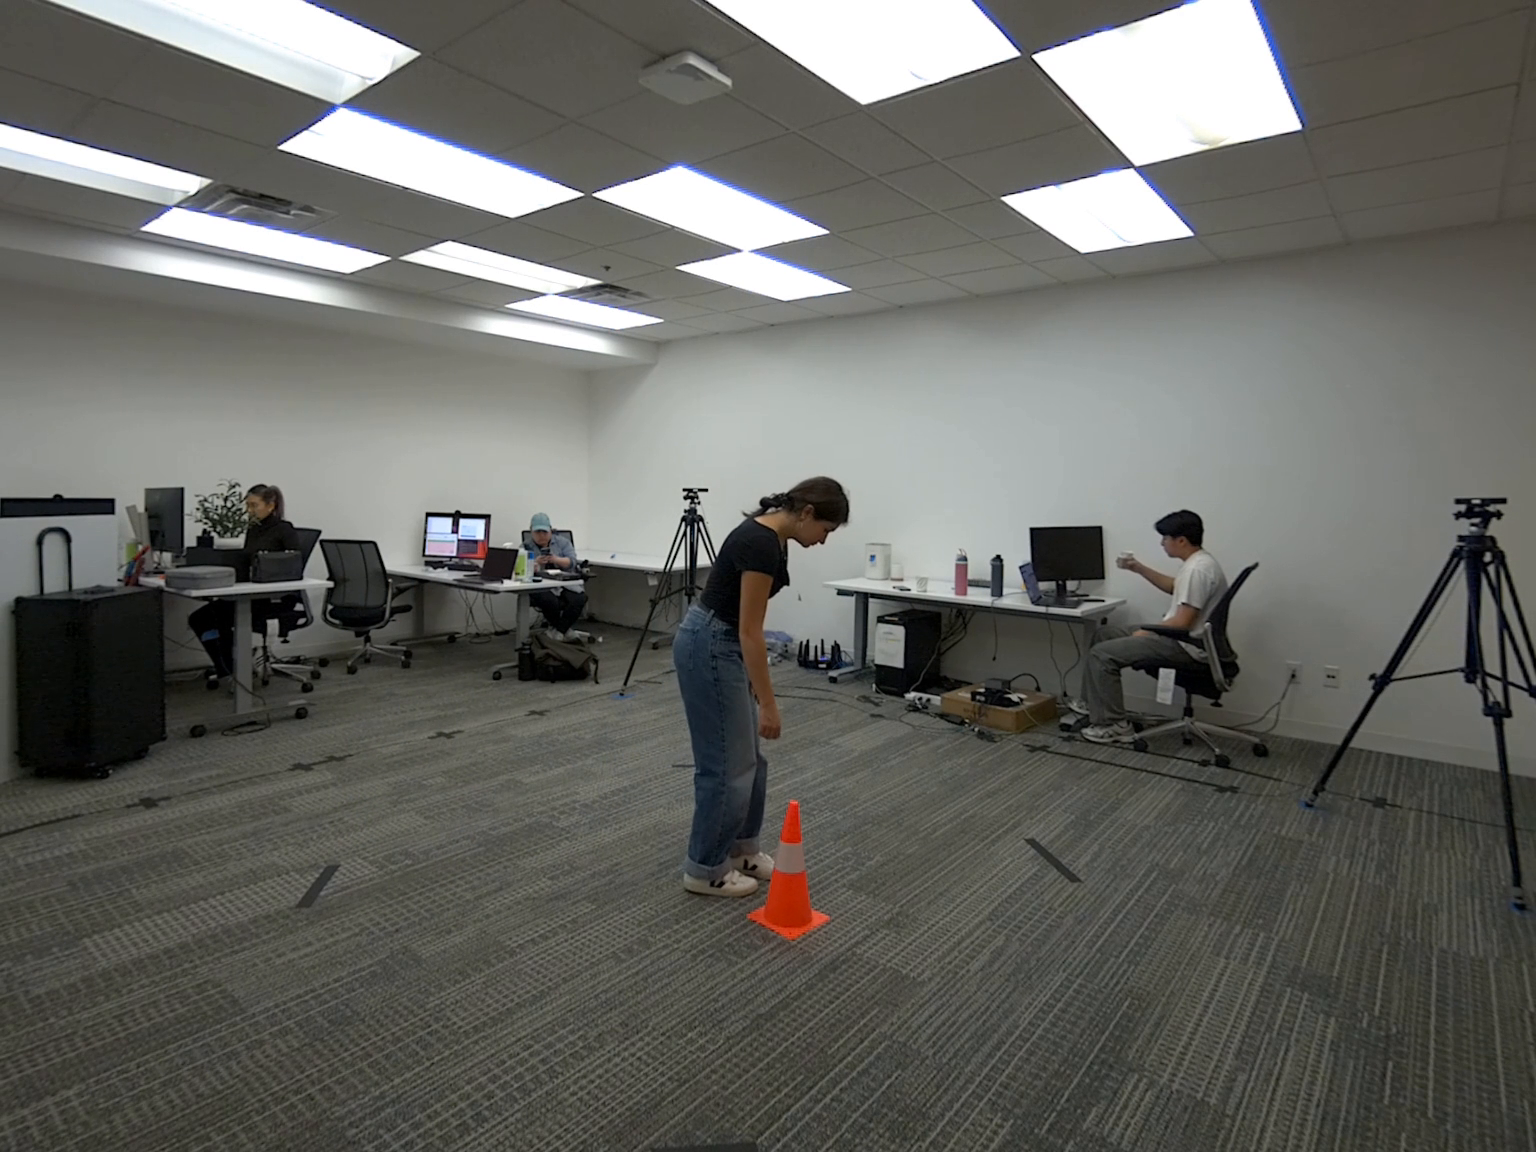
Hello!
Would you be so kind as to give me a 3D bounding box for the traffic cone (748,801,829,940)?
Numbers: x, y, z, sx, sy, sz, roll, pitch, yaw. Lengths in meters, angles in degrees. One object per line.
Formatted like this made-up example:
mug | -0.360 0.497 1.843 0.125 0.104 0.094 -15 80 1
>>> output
traffic cone | 0.078 0.914 2.766 0.212 0.382 0.197 6 5 41
